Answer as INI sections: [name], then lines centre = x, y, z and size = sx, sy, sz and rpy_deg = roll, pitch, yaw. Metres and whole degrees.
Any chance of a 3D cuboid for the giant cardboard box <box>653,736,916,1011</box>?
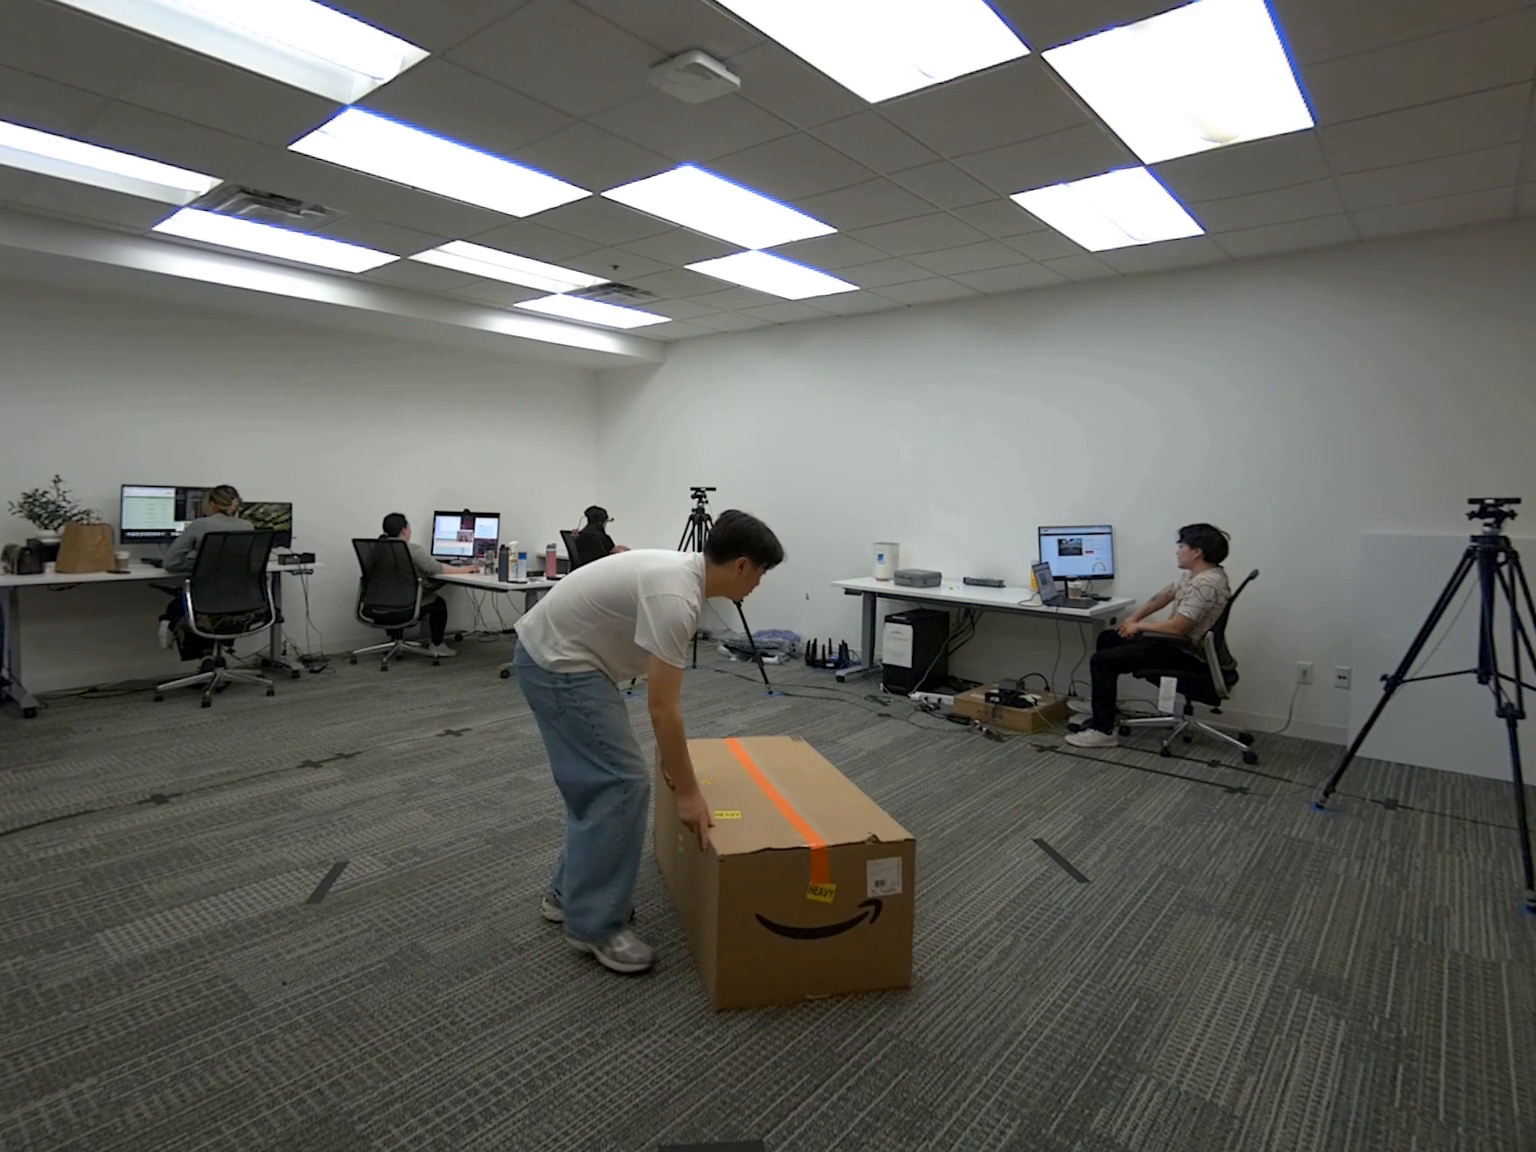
[giant cardboard box]
centre = -0.008, 0.882, 2.805
size = 0.568, 0.424, 1.047
rpy_deg = -1, 6, -16
